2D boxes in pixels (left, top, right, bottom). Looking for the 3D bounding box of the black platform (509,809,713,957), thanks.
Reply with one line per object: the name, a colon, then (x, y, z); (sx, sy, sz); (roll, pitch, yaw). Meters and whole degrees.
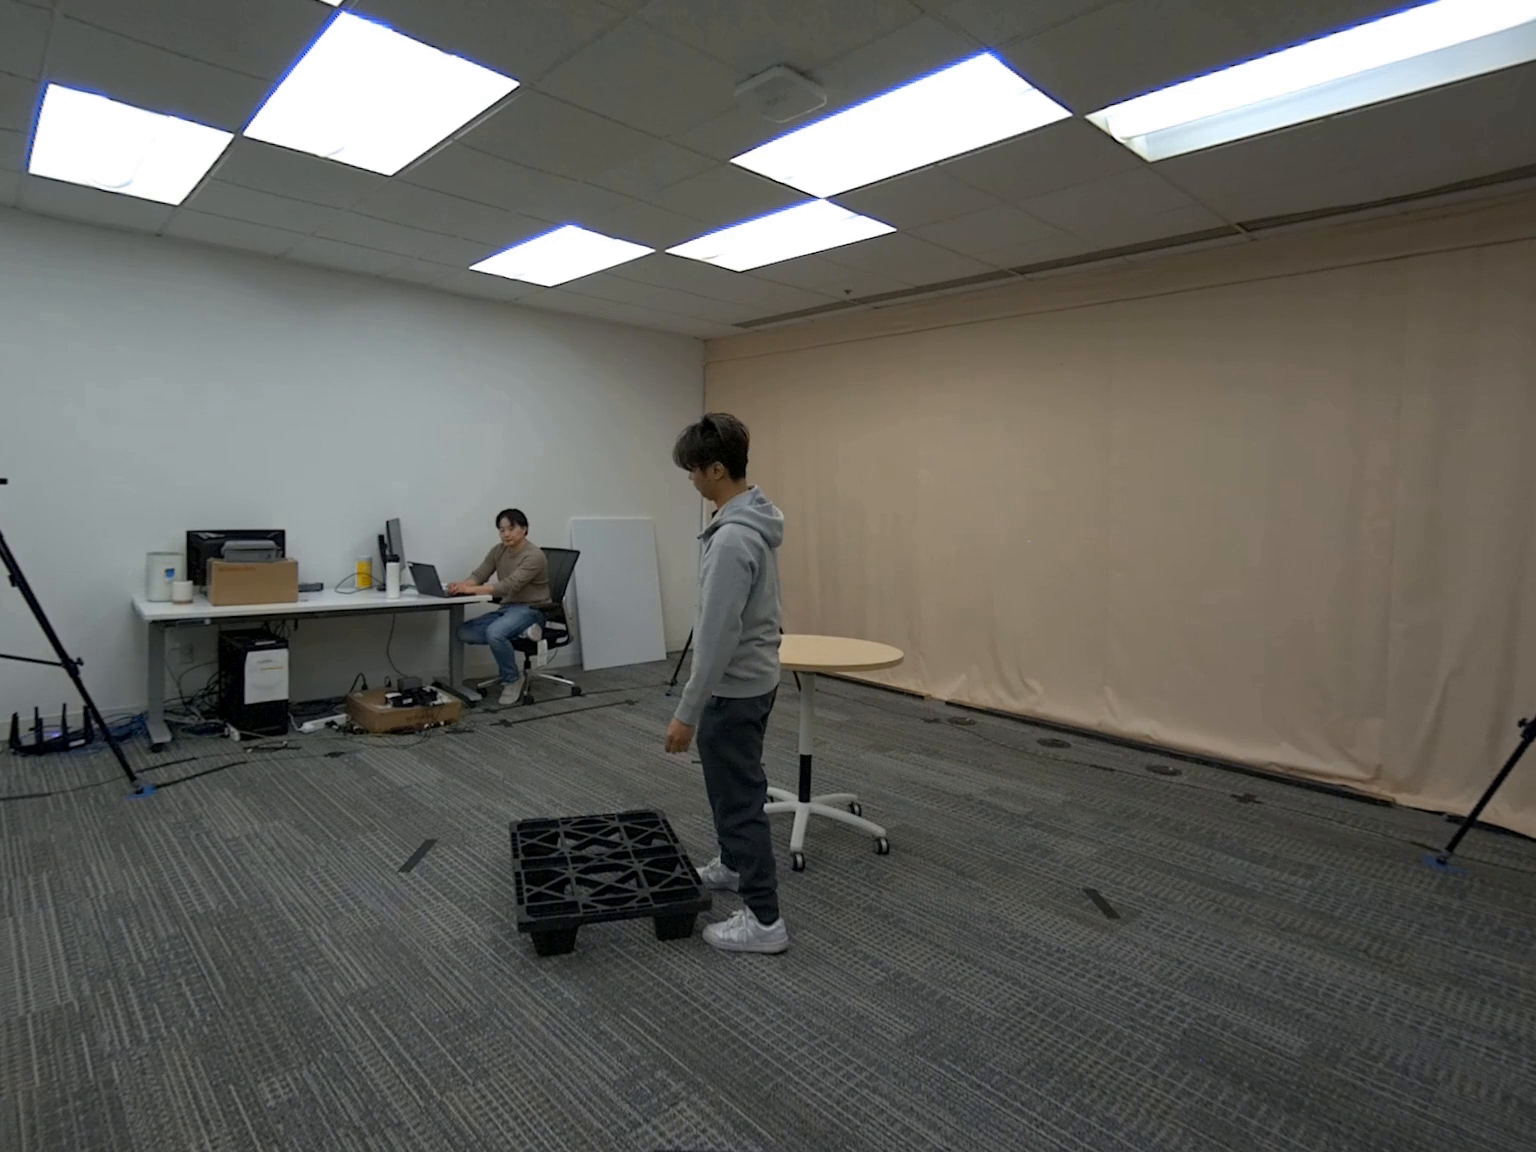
black platform: (-0.593, 1.046, 2.948); (0.597, 0.143, 0.819); (0, 5, -18)
